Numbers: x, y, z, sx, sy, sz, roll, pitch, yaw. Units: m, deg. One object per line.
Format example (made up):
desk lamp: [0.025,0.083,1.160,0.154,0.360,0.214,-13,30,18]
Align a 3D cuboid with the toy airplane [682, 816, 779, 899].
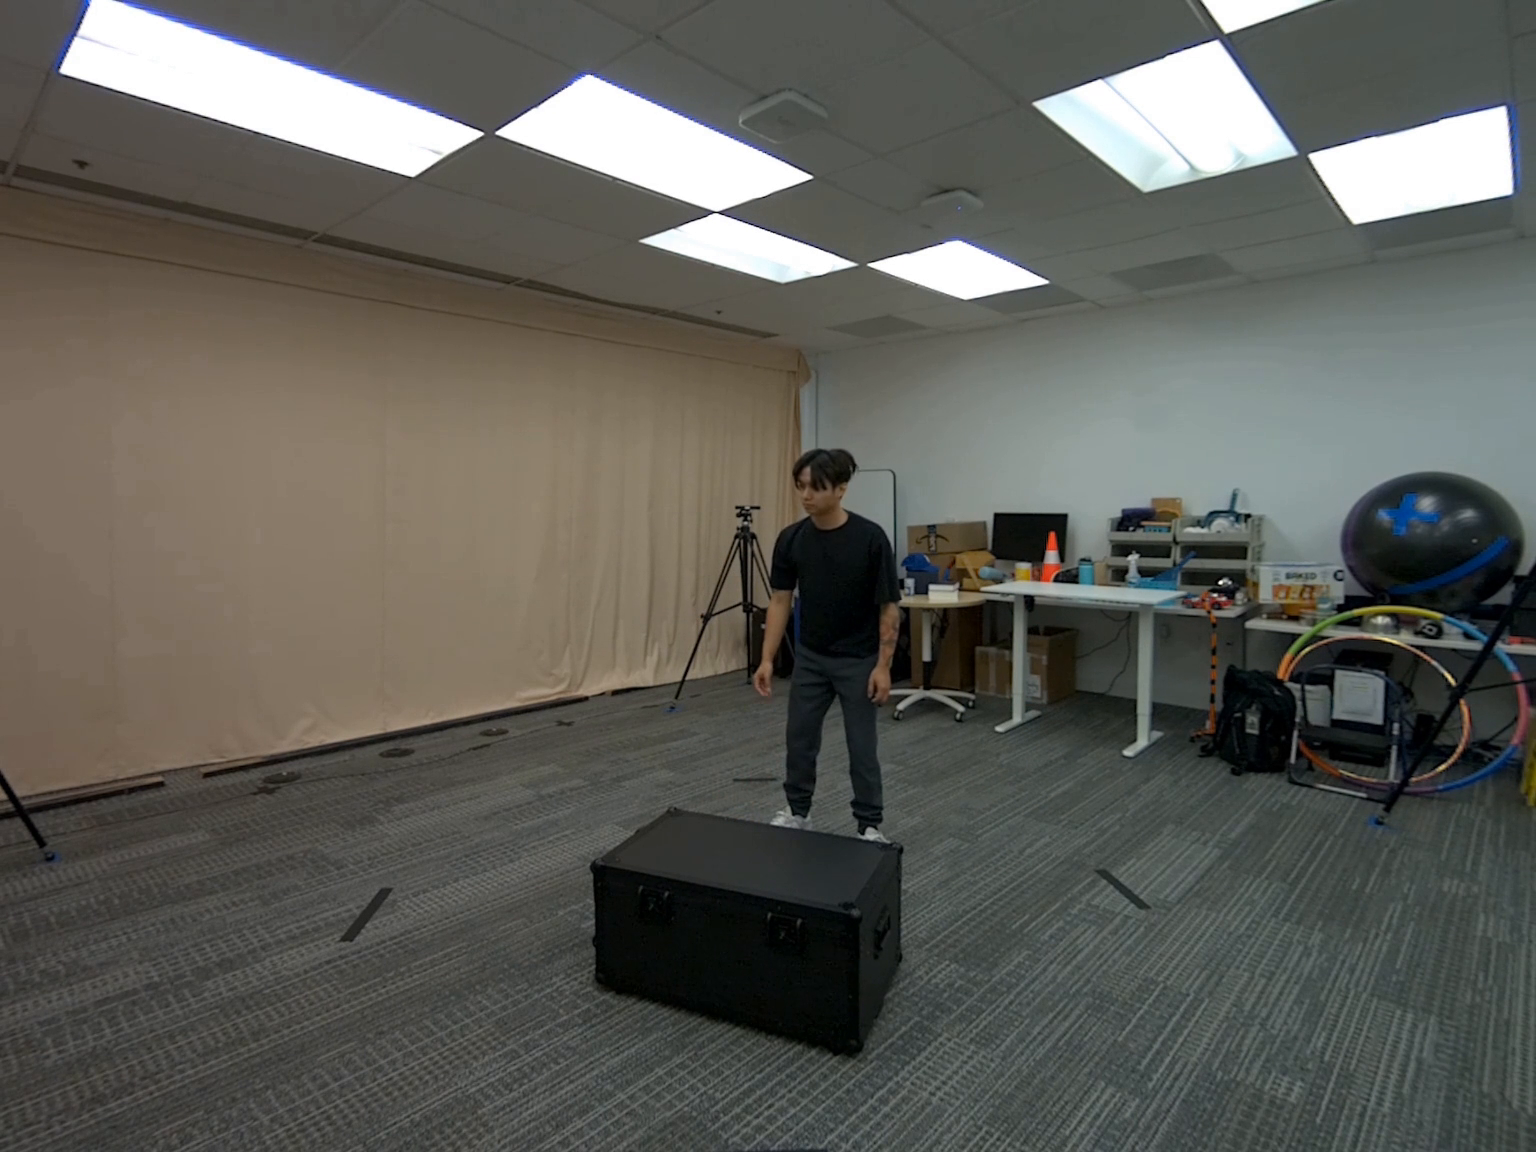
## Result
toy airplane: [-0.143,1.050,3.191,0.268,0.156,0.243,5,7,44]
